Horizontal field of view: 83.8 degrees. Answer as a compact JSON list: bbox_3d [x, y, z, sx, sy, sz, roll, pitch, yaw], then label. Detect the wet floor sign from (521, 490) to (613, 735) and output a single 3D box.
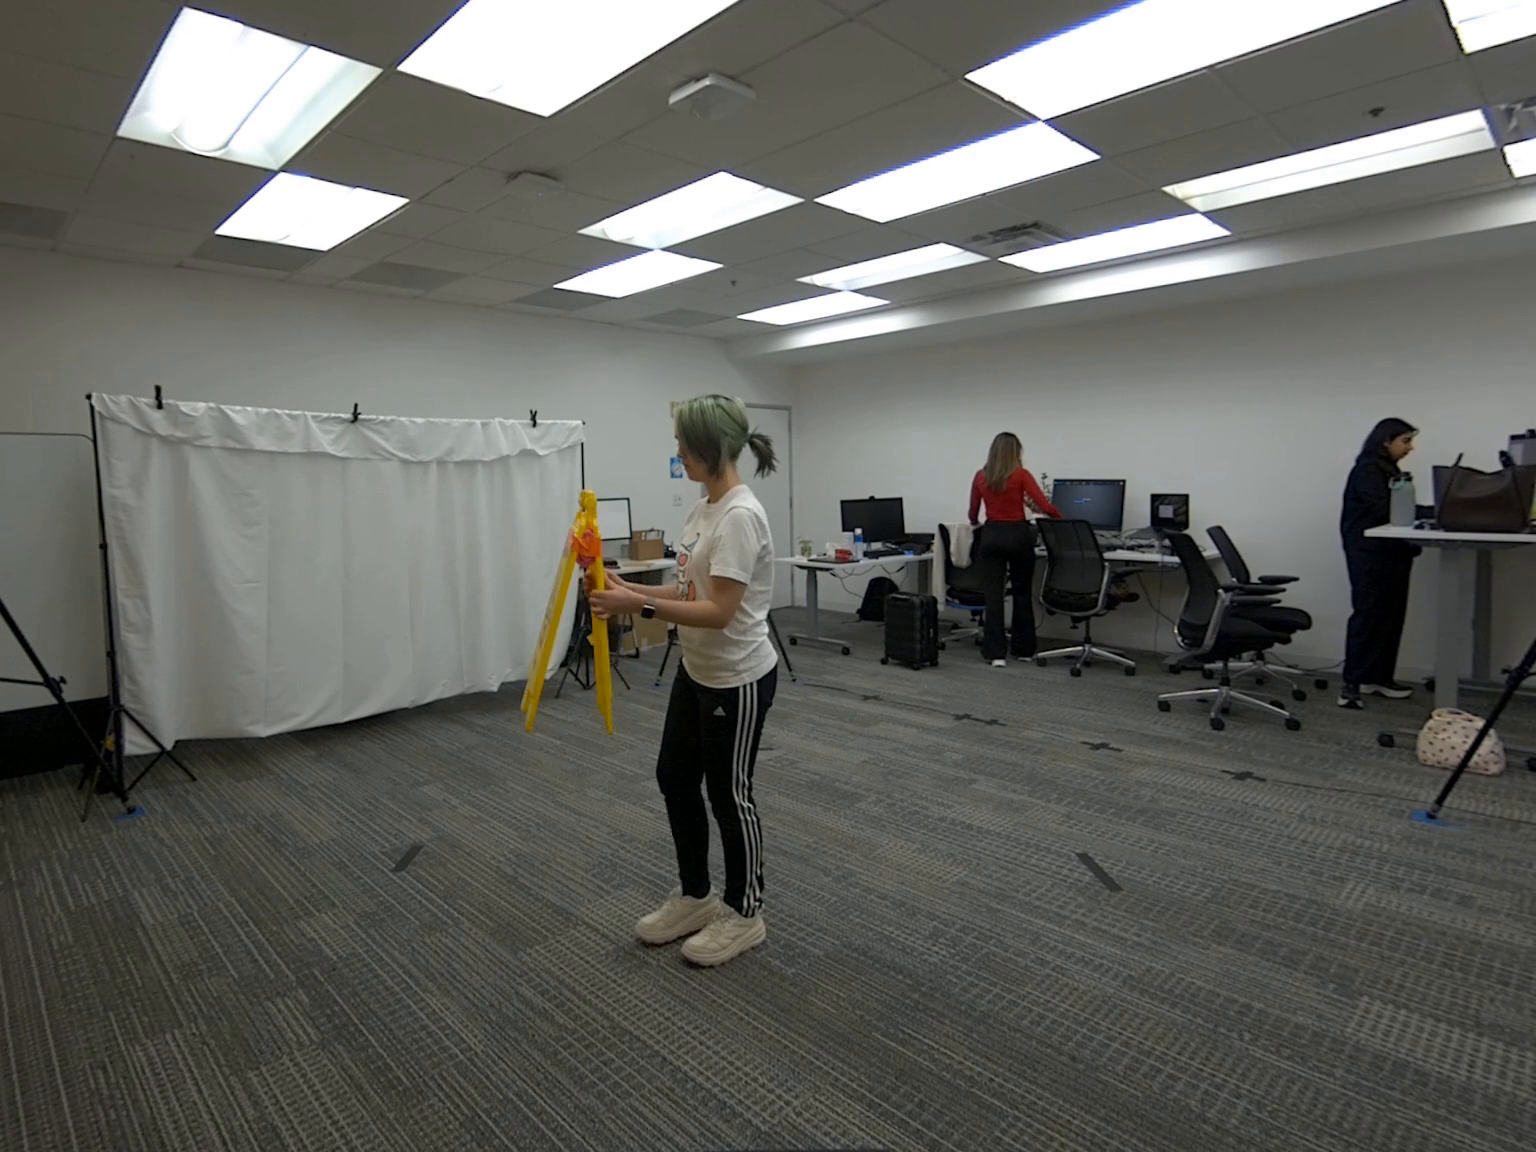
[{"bbox_3d":[-0.534,0.087,2.391,0.285,0.645,0.287,4,2,-17],"label":"wet floor sign"}]
